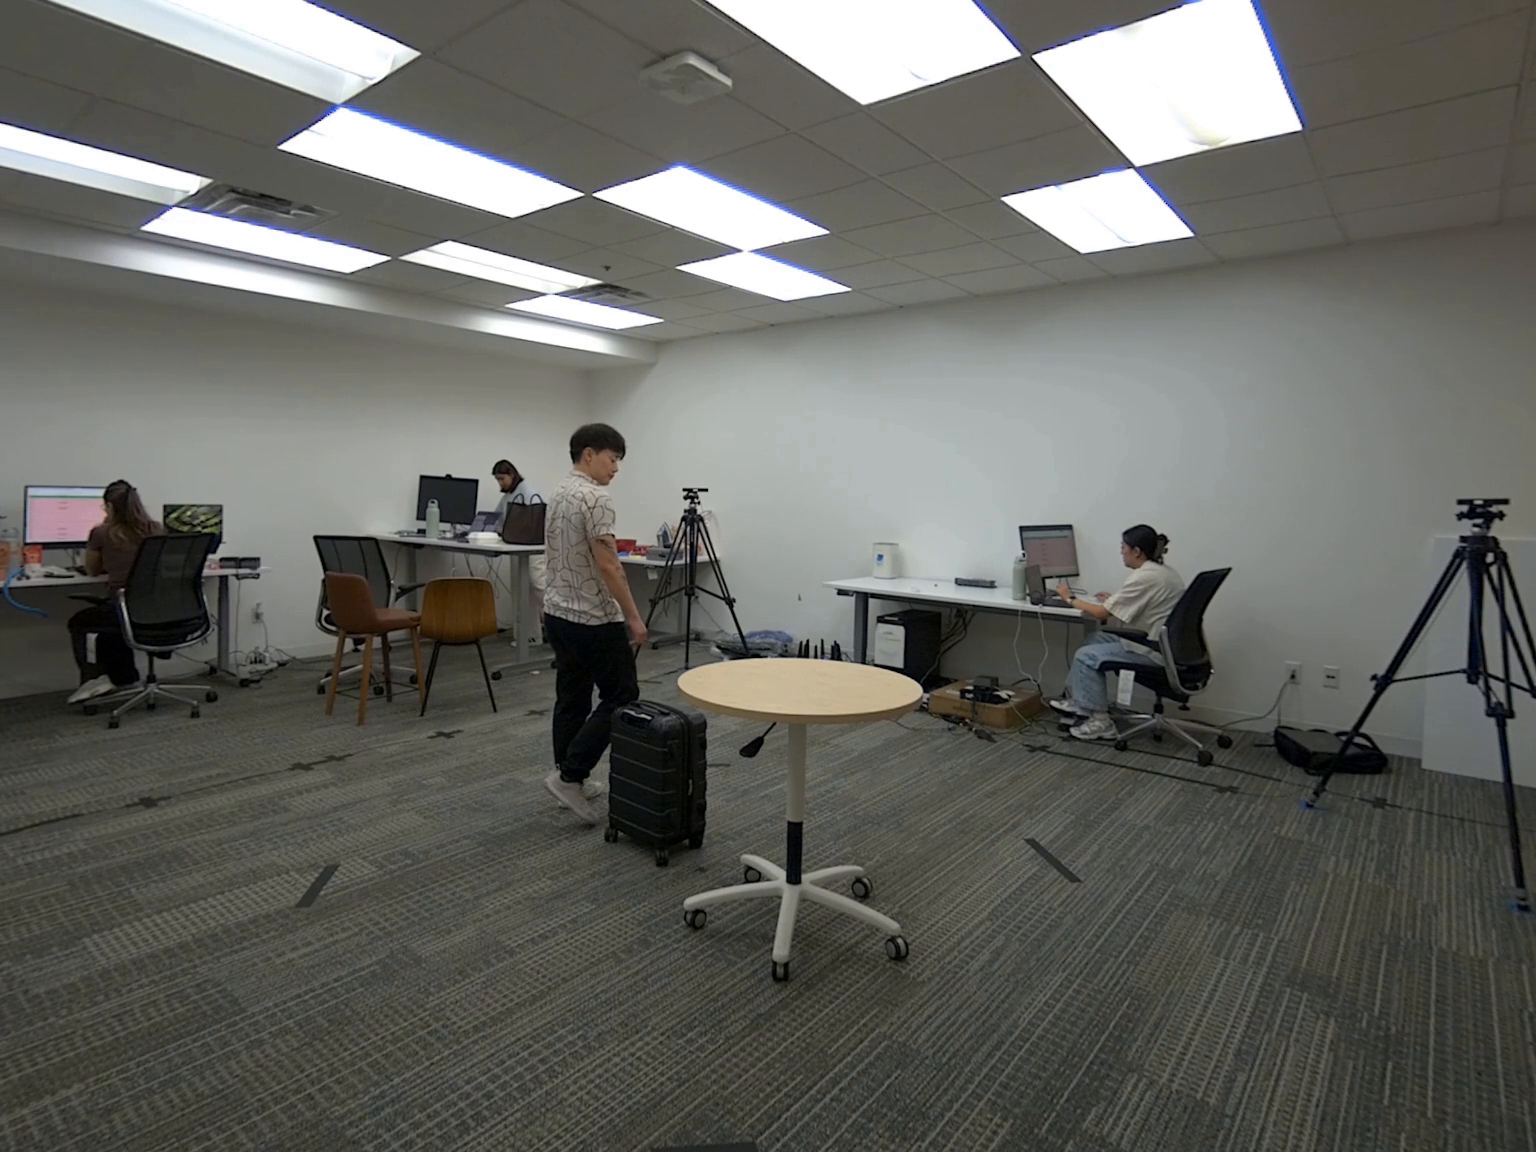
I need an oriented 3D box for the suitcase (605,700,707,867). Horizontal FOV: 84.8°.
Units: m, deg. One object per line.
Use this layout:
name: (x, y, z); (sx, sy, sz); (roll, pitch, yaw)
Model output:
suitcase: (-0.444, 0.767, 3.326); (0.388, 0.548, 0.240); (4, 3, 43)
